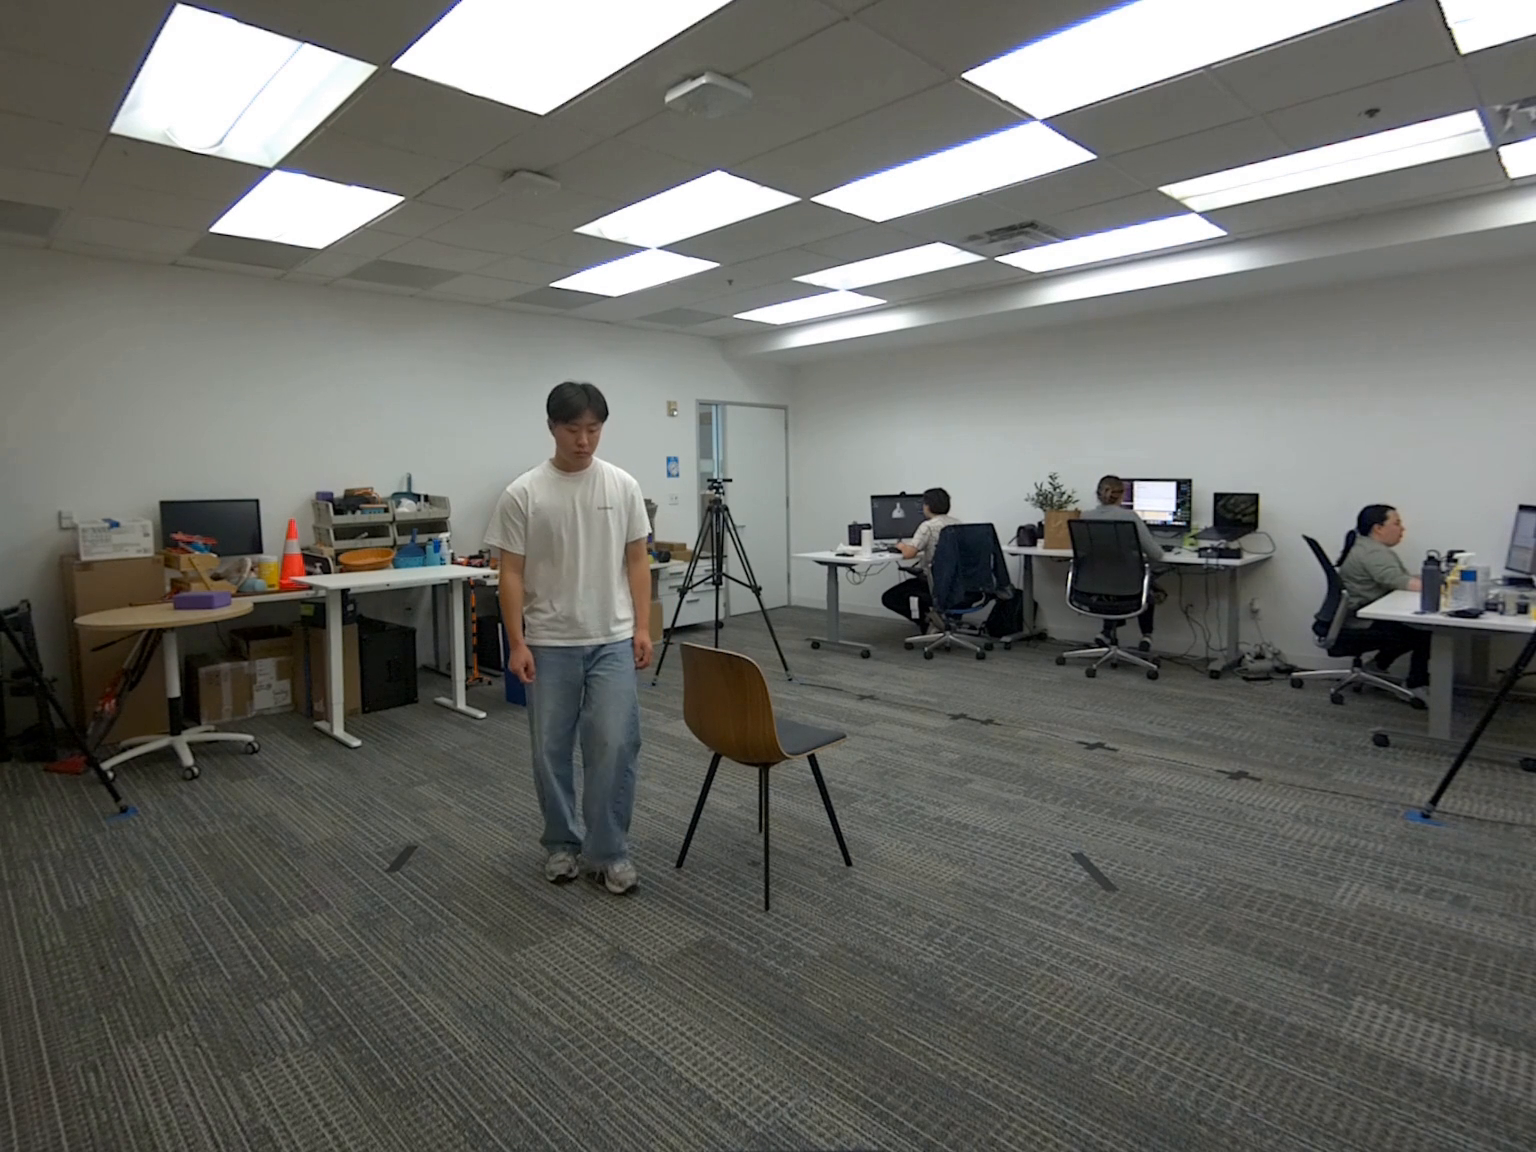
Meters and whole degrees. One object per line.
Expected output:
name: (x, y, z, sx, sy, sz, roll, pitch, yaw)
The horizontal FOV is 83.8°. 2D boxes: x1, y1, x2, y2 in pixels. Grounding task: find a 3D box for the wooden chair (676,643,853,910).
wooden chair: (-0.013, 0.623, 3.050, 0.493, 0.871, 0.511, 4, 11, 44)
